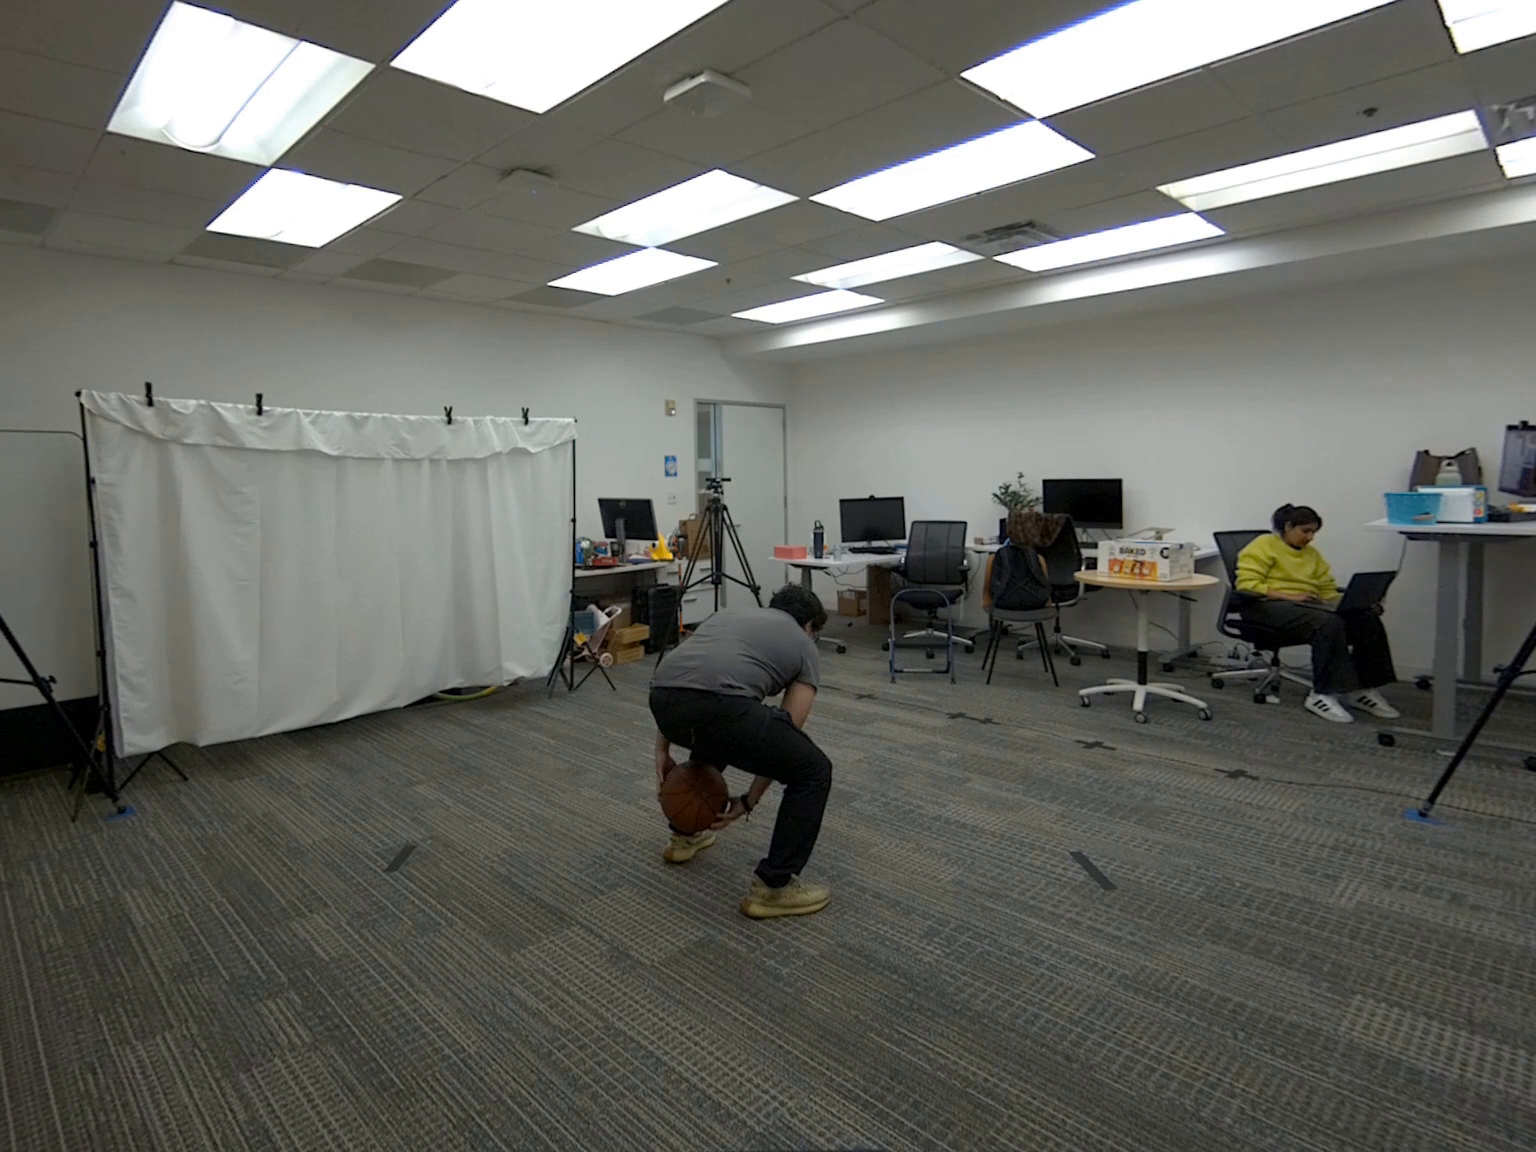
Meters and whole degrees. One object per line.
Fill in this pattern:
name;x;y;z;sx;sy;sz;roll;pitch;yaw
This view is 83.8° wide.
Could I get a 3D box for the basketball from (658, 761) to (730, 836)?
basketball;-0.261;0.753;2.968;0.236;0.235;0.237;-1;5;-2
